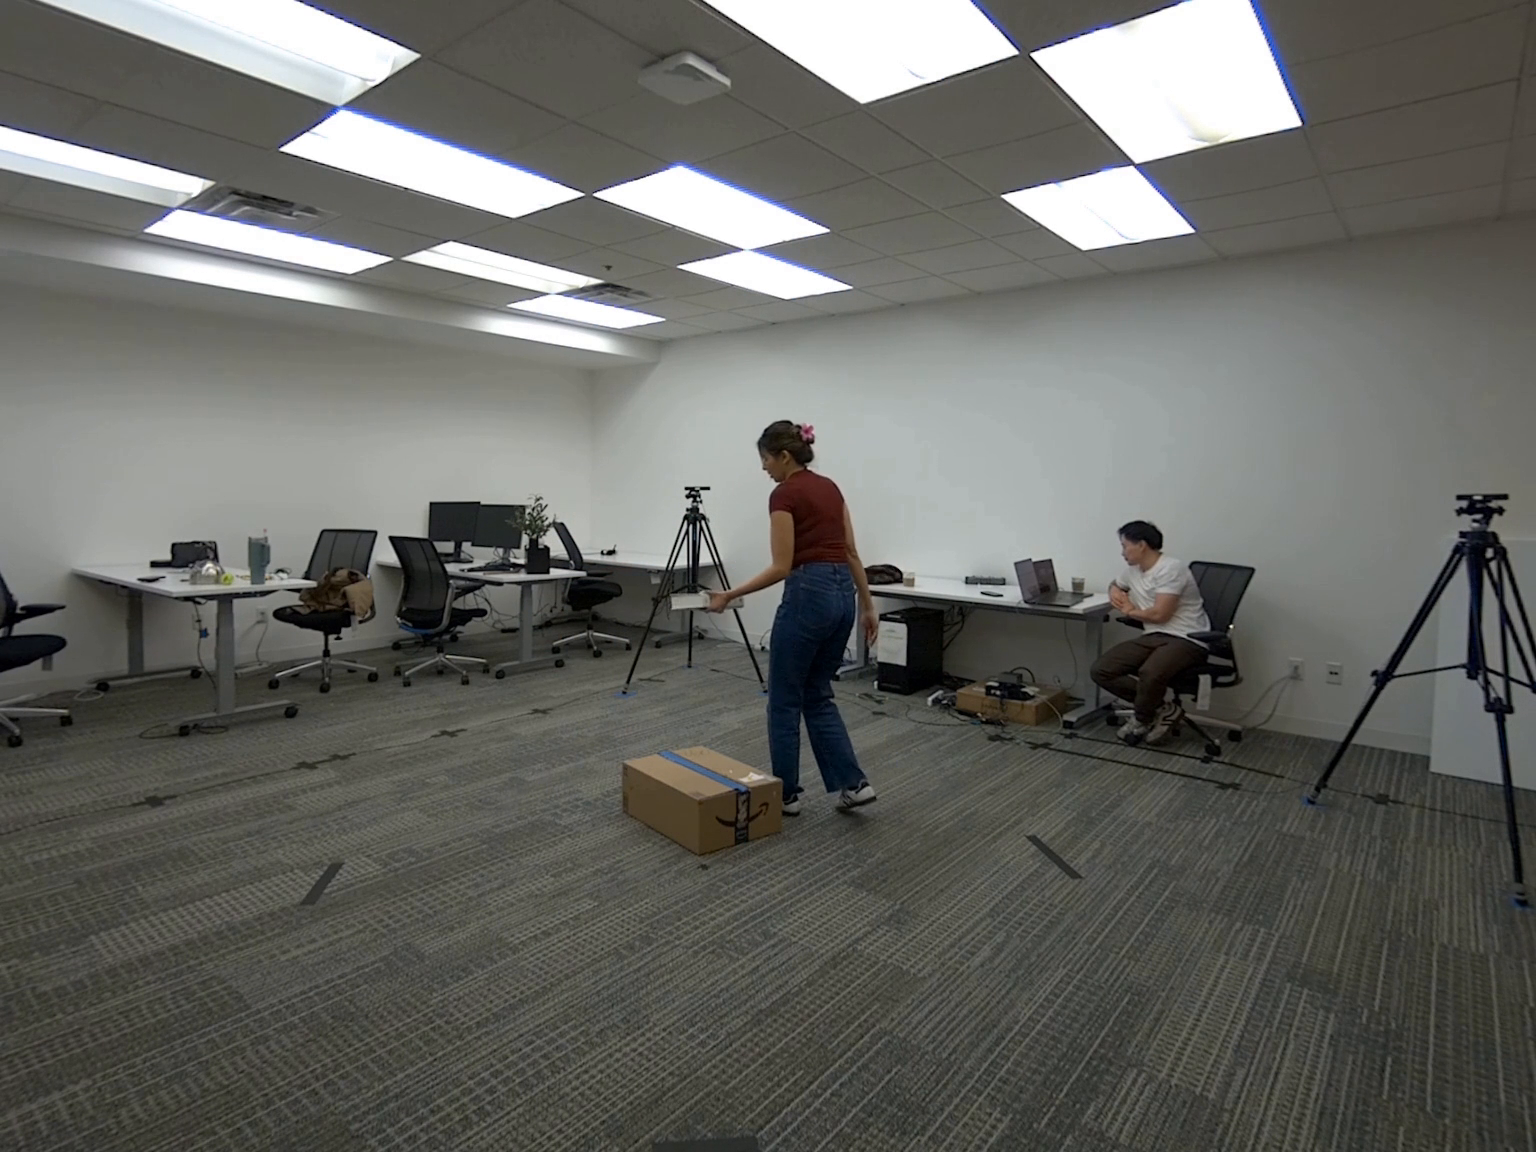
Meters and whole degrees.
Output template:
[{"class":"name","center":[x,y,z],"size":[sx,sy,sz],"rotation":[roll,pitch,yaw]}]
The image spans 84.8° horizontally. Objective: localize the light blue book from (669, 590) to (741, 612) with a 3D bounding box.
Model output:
[{"class":"light blue book","center":[-0.272,0.108,3.627],"size":[0.196,0.059,0.252],"rotation":[-5,-5,37]}]
